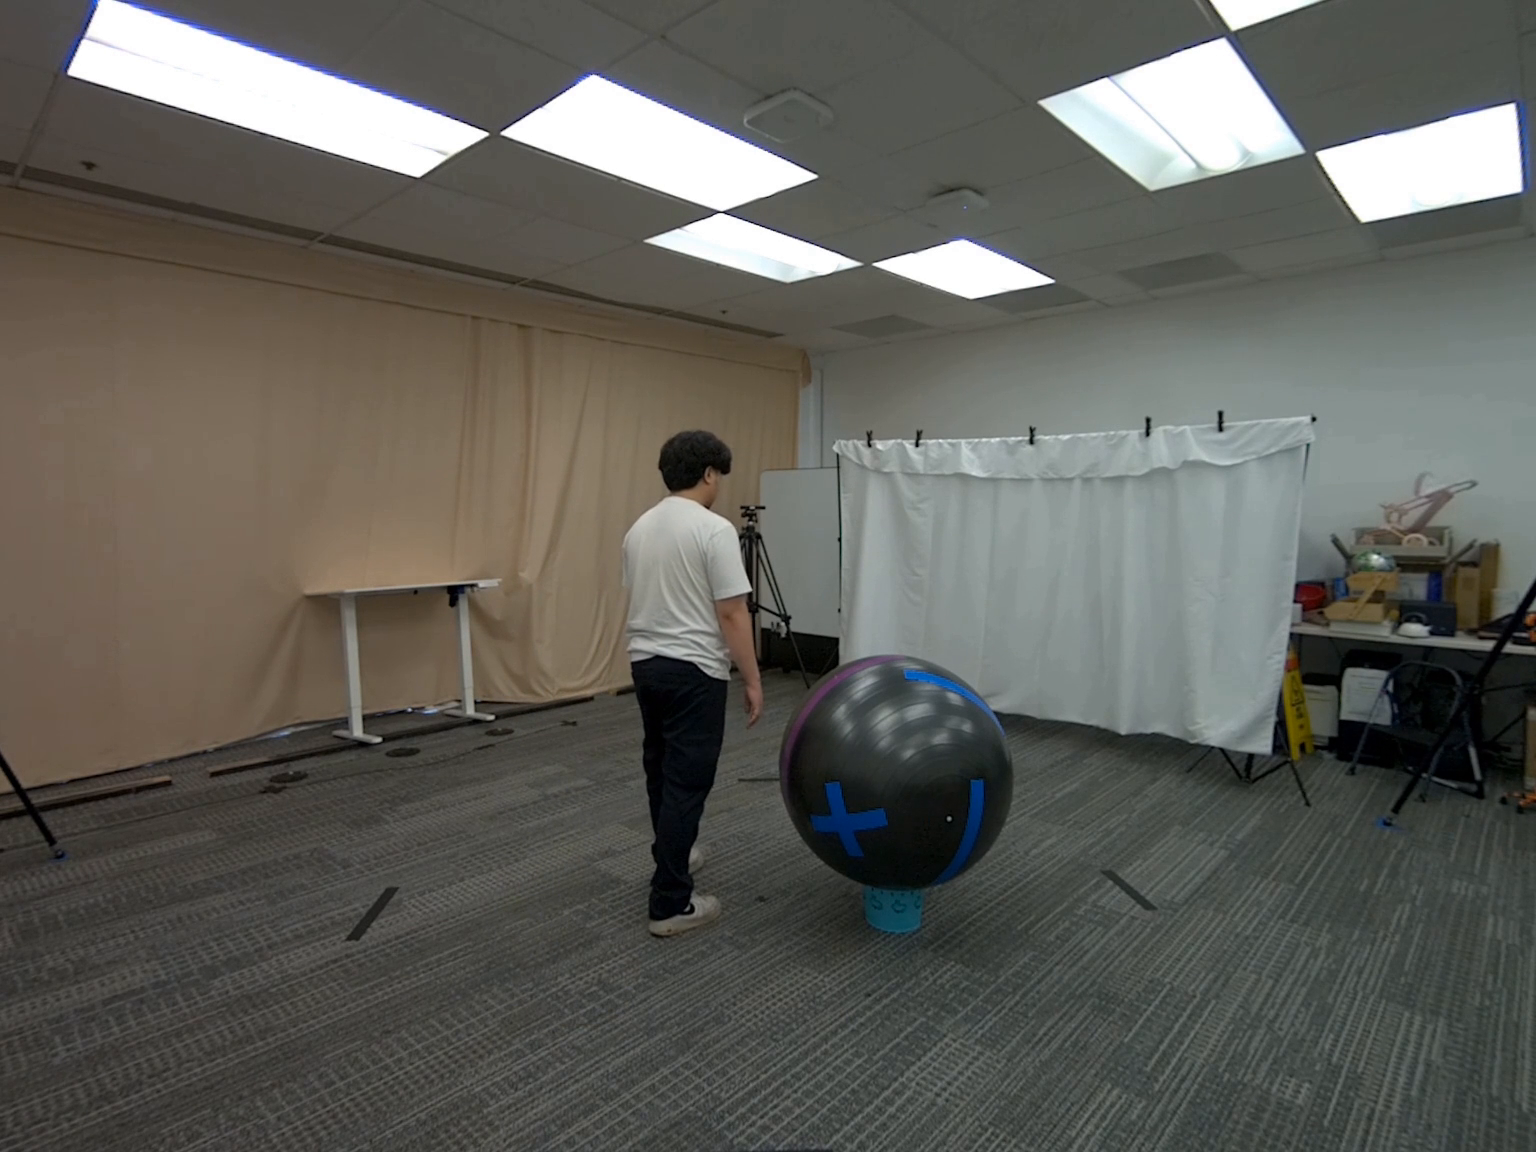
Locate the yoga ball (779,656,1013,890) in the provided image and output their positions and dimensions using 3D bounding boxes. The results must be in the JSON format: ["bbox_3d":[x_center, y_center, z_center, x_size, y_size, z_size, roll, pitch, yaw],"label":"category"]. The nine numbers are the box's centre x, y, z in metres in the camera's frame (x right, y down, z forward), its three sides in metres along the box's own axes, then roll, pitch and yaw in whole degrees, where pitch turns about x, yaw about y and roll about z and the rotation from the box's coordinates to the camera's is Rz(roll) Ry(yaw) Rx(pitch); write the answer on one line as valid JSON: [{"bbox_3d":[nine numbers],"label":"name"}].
[{"bbox_3d":[0.426,0.647,2.812,0.757,0.756,0.760,0,4,-2],"label":"yoga ball"}]
